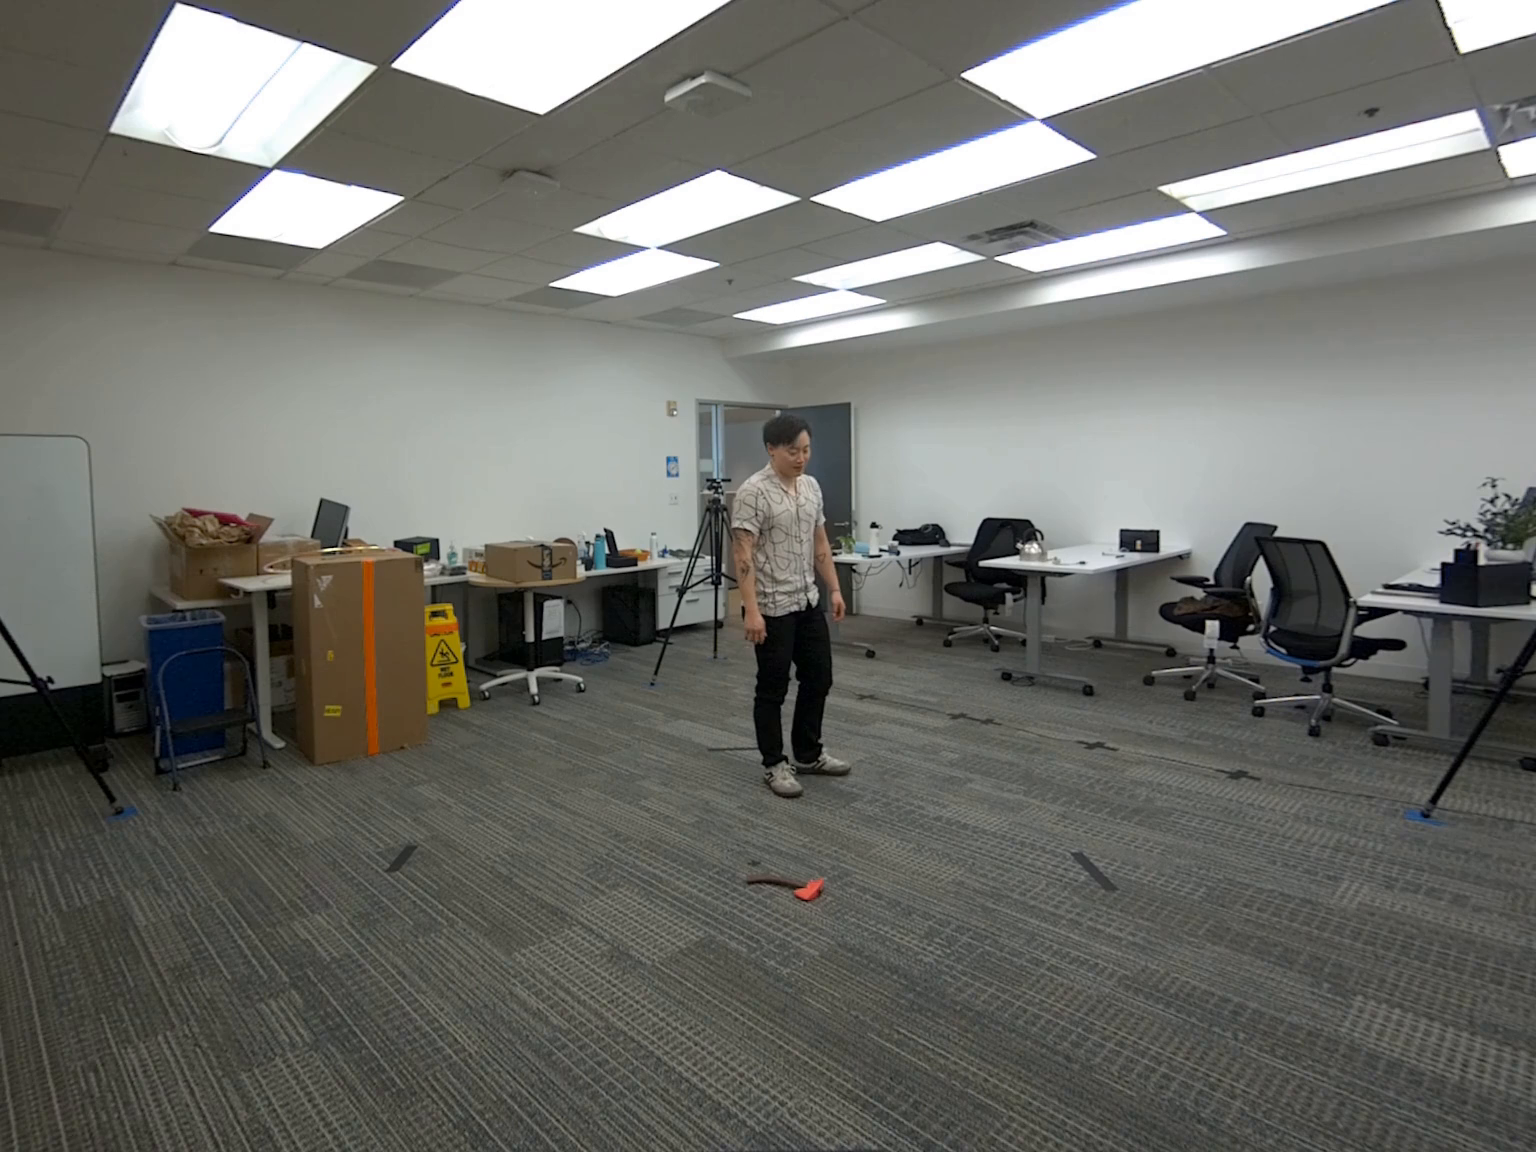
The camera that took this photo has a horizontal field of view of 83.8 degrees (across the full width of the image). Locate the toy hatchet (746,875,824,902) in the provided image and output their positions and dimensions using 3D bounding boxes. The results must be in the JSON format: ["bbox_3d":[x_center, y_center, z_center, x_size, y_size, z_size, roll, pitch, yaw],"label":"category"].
[{"bbox_3d":[0.051,1.059,2.889,0.273,0.029,0.131,-2,13,12],"label":"toy hatchet"}]
